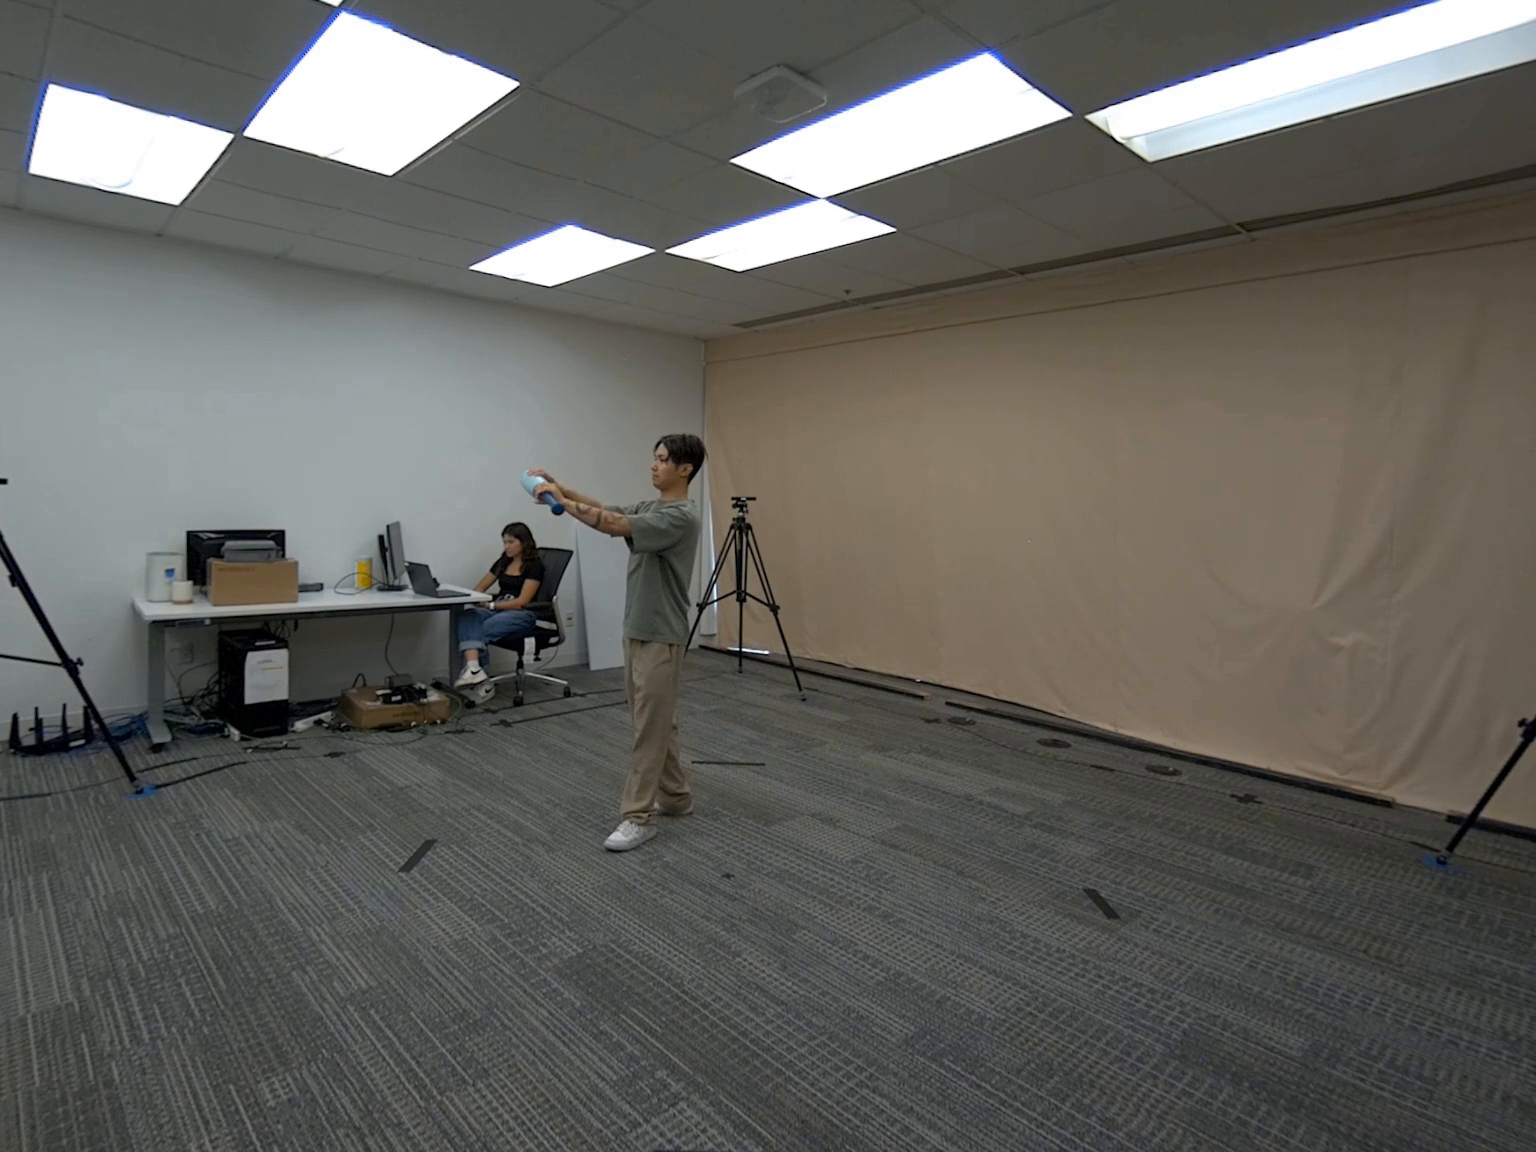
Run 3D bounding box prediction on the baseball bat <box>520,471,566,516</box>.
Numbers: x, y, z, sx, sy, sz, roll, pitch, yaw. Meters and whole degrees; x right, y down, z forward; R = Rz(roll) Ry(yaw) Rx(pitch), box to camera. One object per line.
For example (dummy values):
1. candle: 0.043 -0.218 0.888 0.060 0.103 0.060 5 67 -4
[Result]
1. baseball bat: -0.890 -0.323 3.272 0.087 0.088 0.558 -1 19 -24
